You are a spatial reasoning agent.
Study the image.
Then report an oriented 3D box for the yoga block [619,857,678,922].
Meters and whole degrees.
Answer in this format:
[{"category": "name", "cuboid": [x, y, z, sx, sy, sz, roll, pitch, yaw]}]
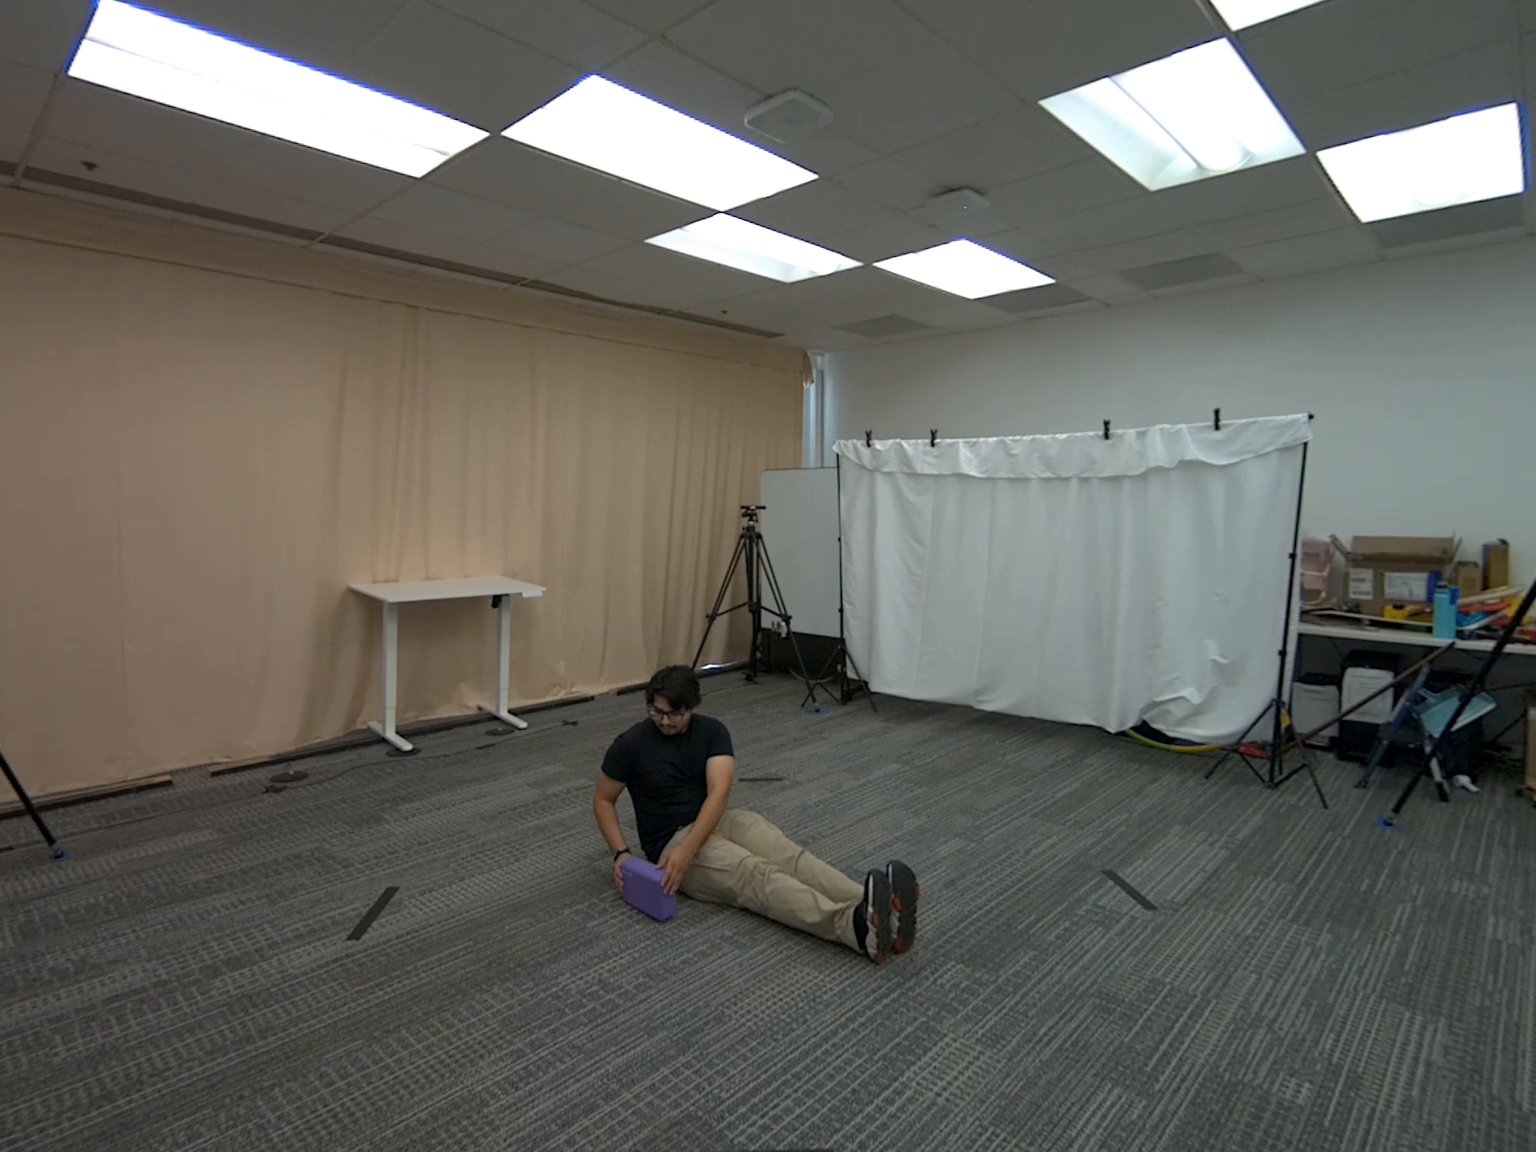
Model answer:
[{"category": "yoga block", "cuboid": [-0.413, 1.068, 2.905, 0.074, 0.148, 0.237, -10, 7, -42]}]
